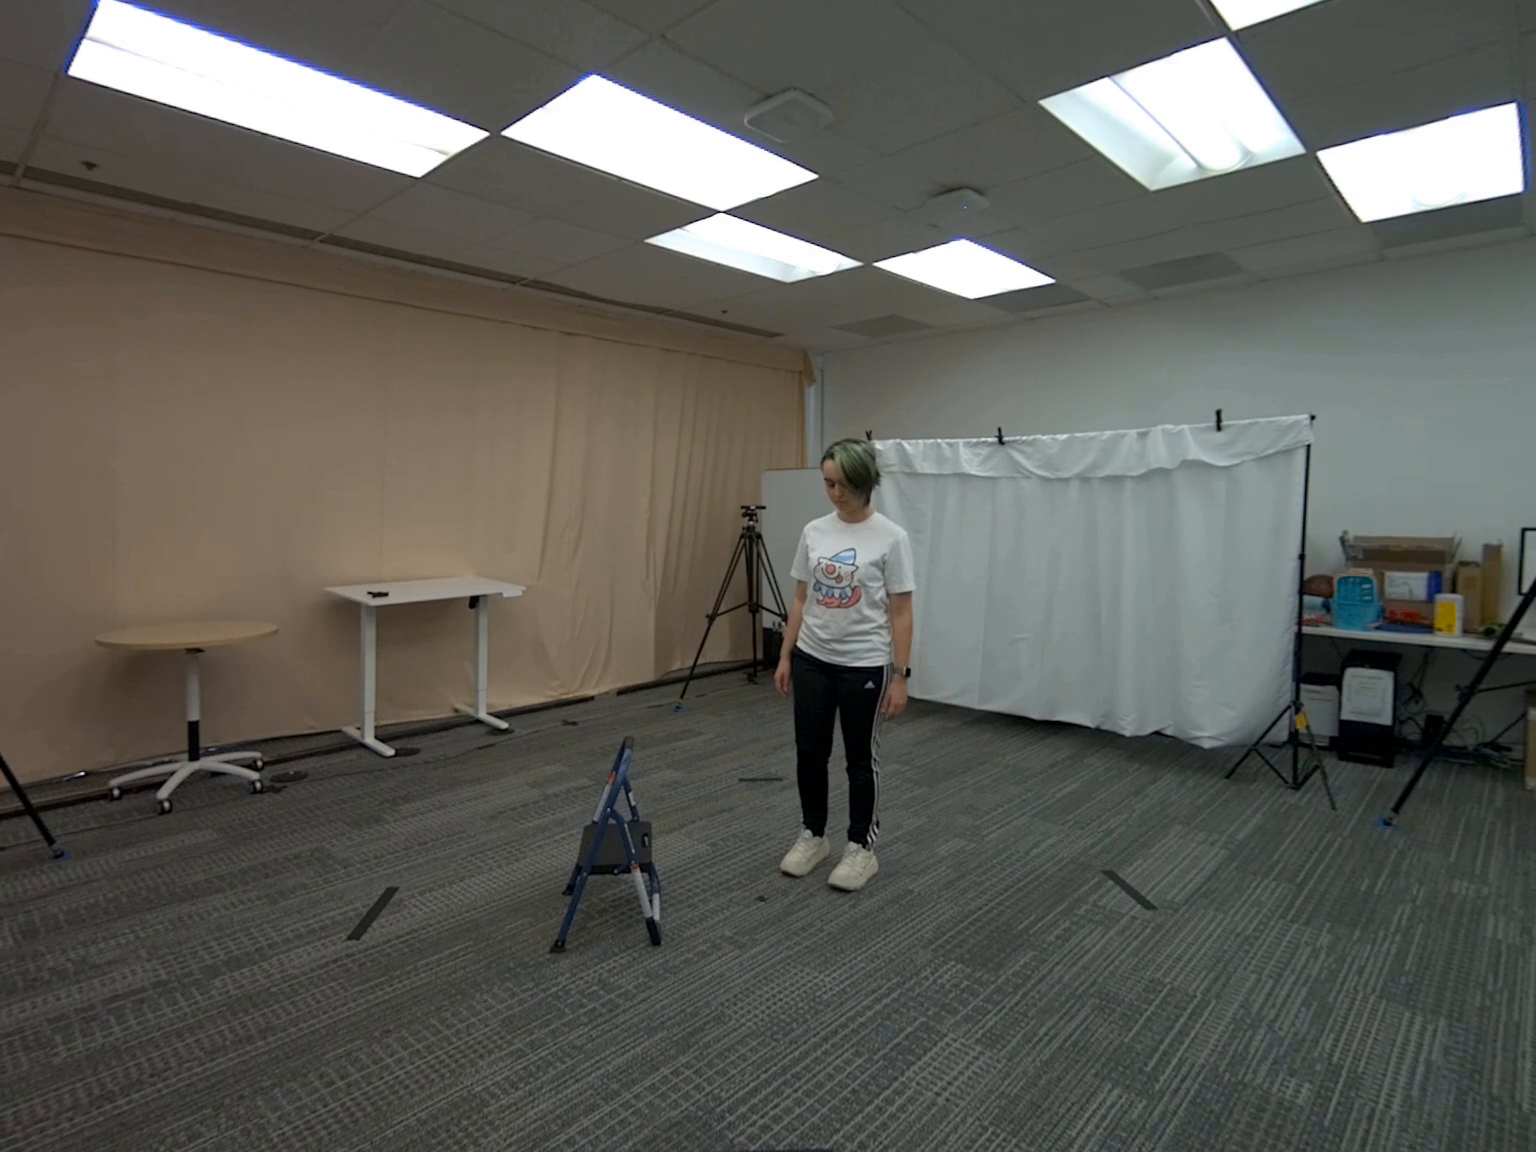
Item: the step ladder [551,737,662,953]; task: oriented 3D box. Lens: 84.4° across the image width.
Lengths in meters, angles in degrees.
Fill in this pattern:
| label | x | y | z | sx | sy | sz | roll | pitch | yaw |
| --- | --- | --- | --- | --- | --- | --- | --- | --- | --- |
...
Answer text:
| label | x | y | z | sx | sy | sz | roll | pitch | yaw |
| --- | --- | --- | --- | --- | --- | --- | --- | --- | --- |
| step ladder | -0.536 | 0.858 | 2.837 | 0.347 | 0.605 | 0.435 | -1 | 4 | -8 |
